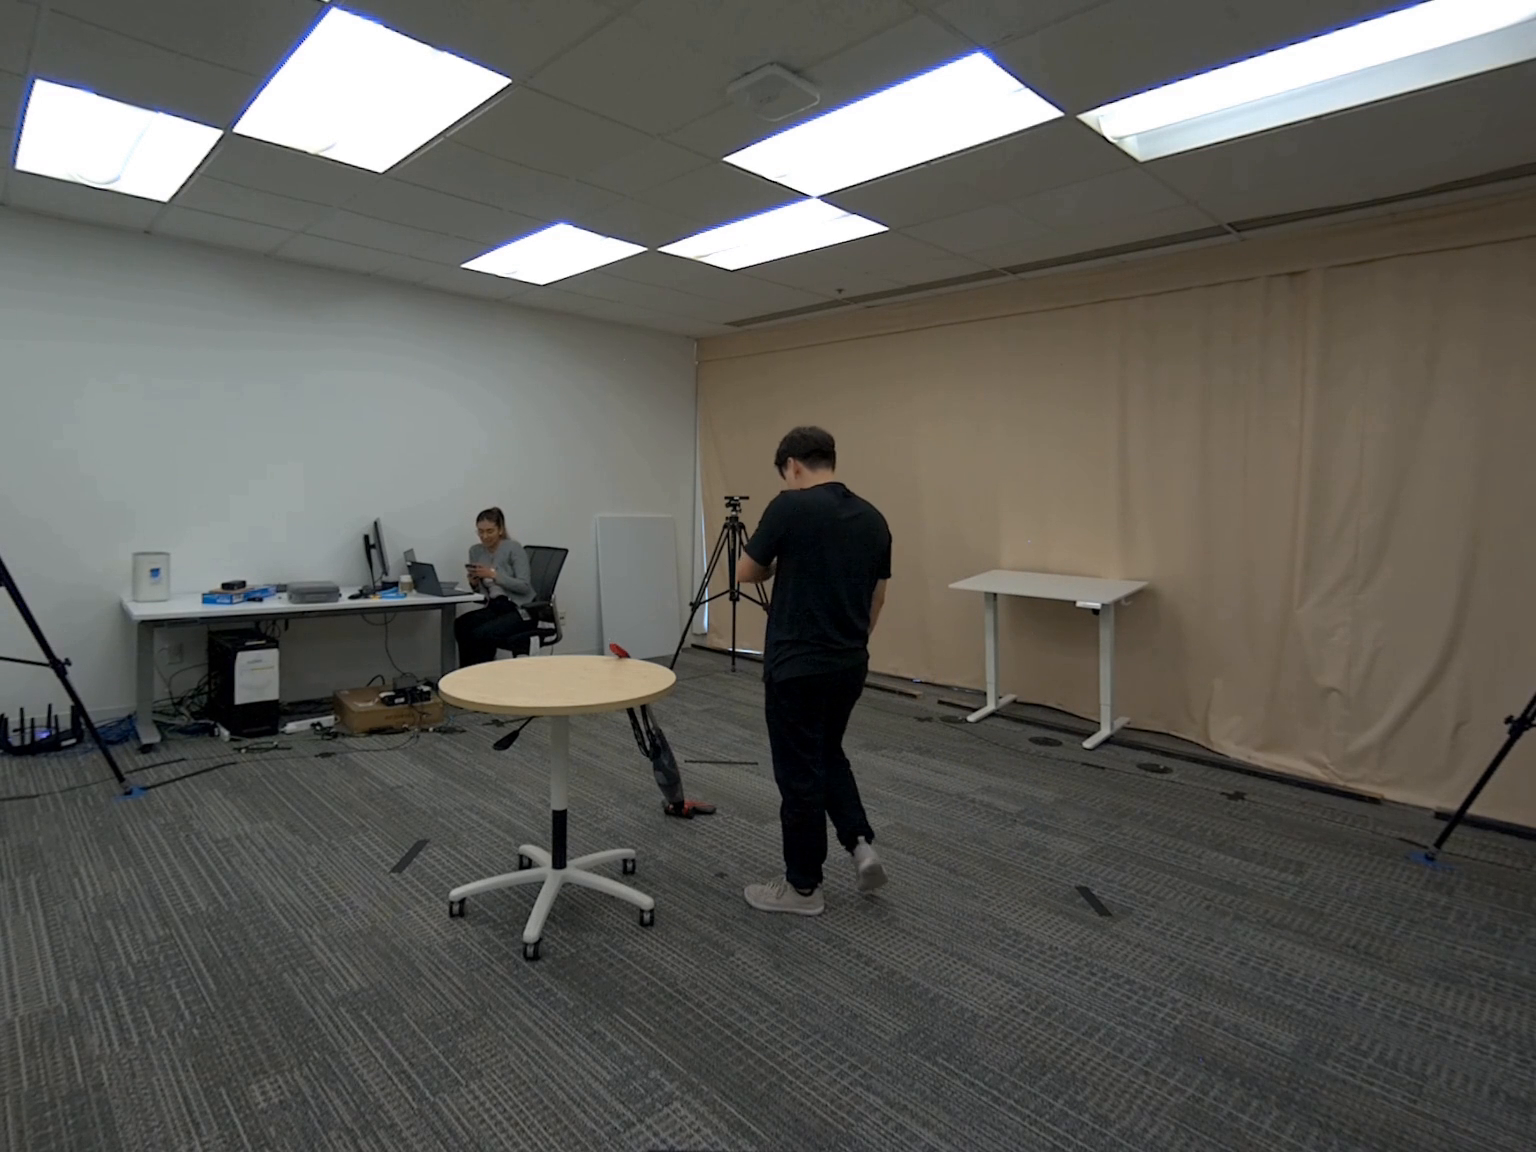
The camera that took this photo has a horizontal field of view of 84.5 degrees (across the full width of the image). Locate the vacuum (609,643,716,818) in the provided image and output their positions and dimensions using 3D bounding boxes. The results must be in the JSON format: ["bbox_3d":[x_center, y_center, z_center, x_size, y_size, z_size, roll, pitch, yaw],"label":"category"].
[{"bbox_3d":[-0.472,0.649,3.413,0.257,1.022,0.145,5,42,23],"label":"vacuum"}]
